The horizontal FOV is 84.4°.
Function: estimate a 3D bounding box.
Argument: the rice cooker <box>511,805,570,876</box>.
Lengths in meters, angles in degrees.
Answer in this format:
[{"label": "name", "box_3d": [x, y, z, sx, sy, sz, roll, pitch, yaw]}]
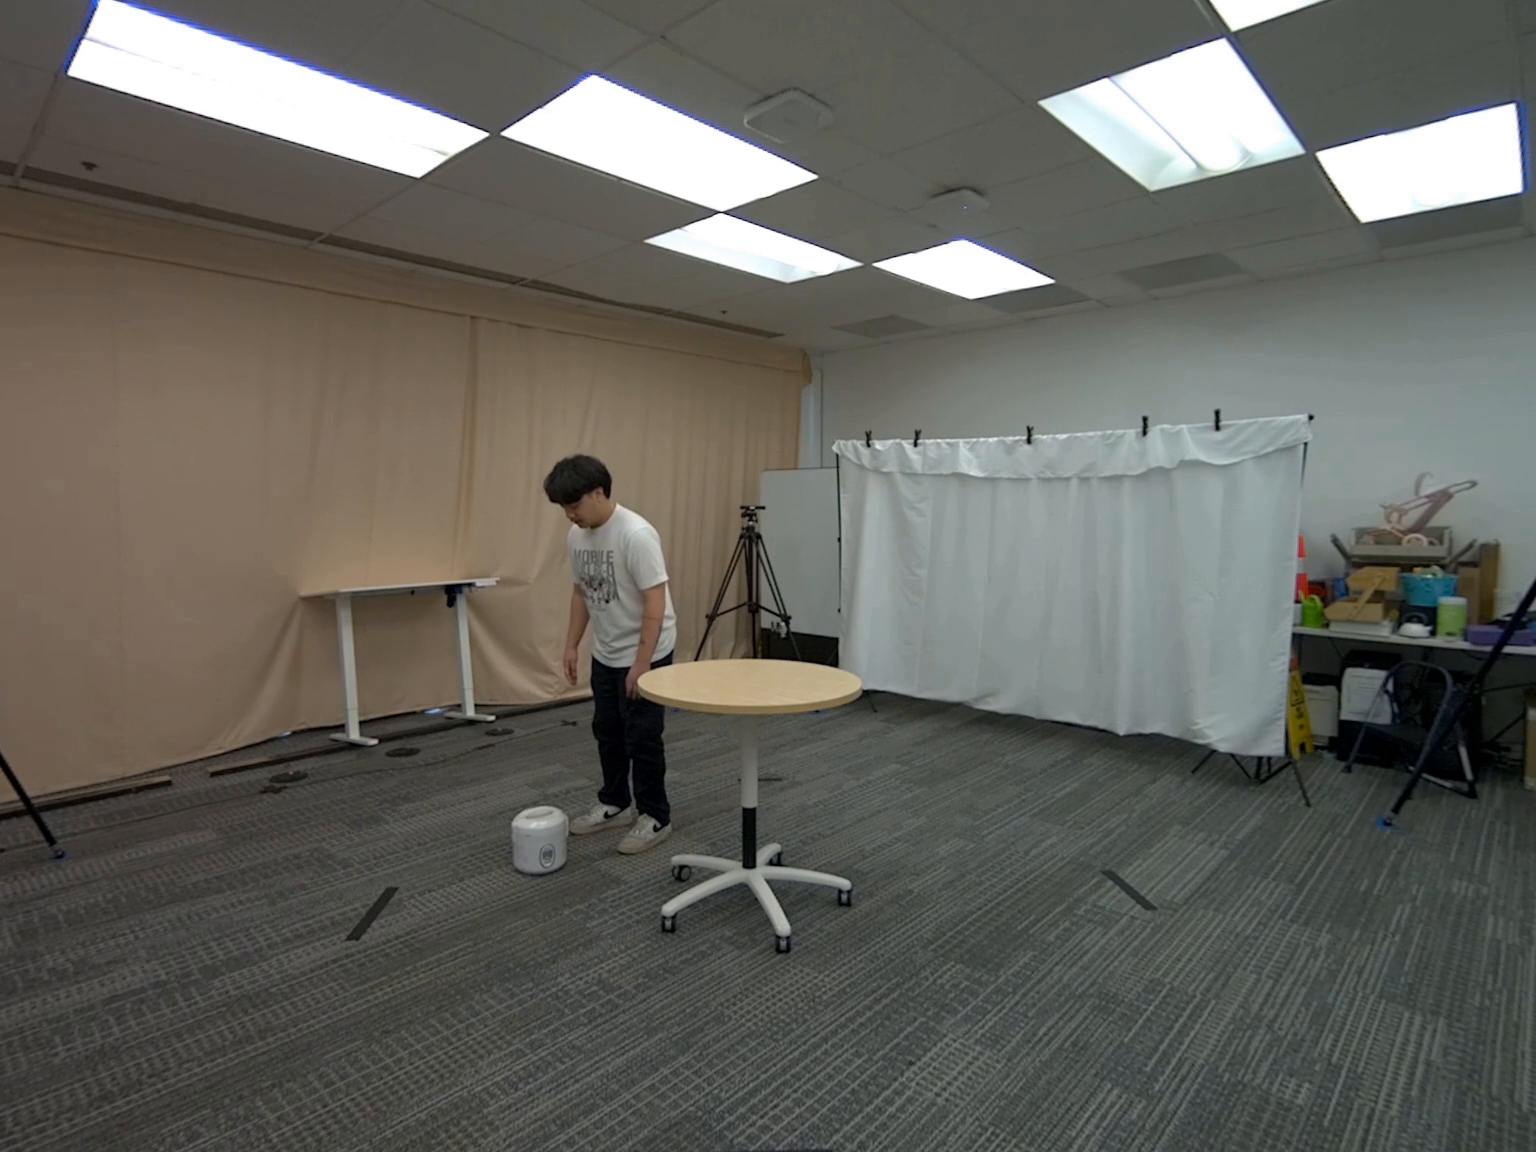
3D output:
[{"label": "rice cooker", "box_3d": [-0.890, 1.014, 3.266, 0.215, 0.232, 0.223, -2, 3, -27]}]
